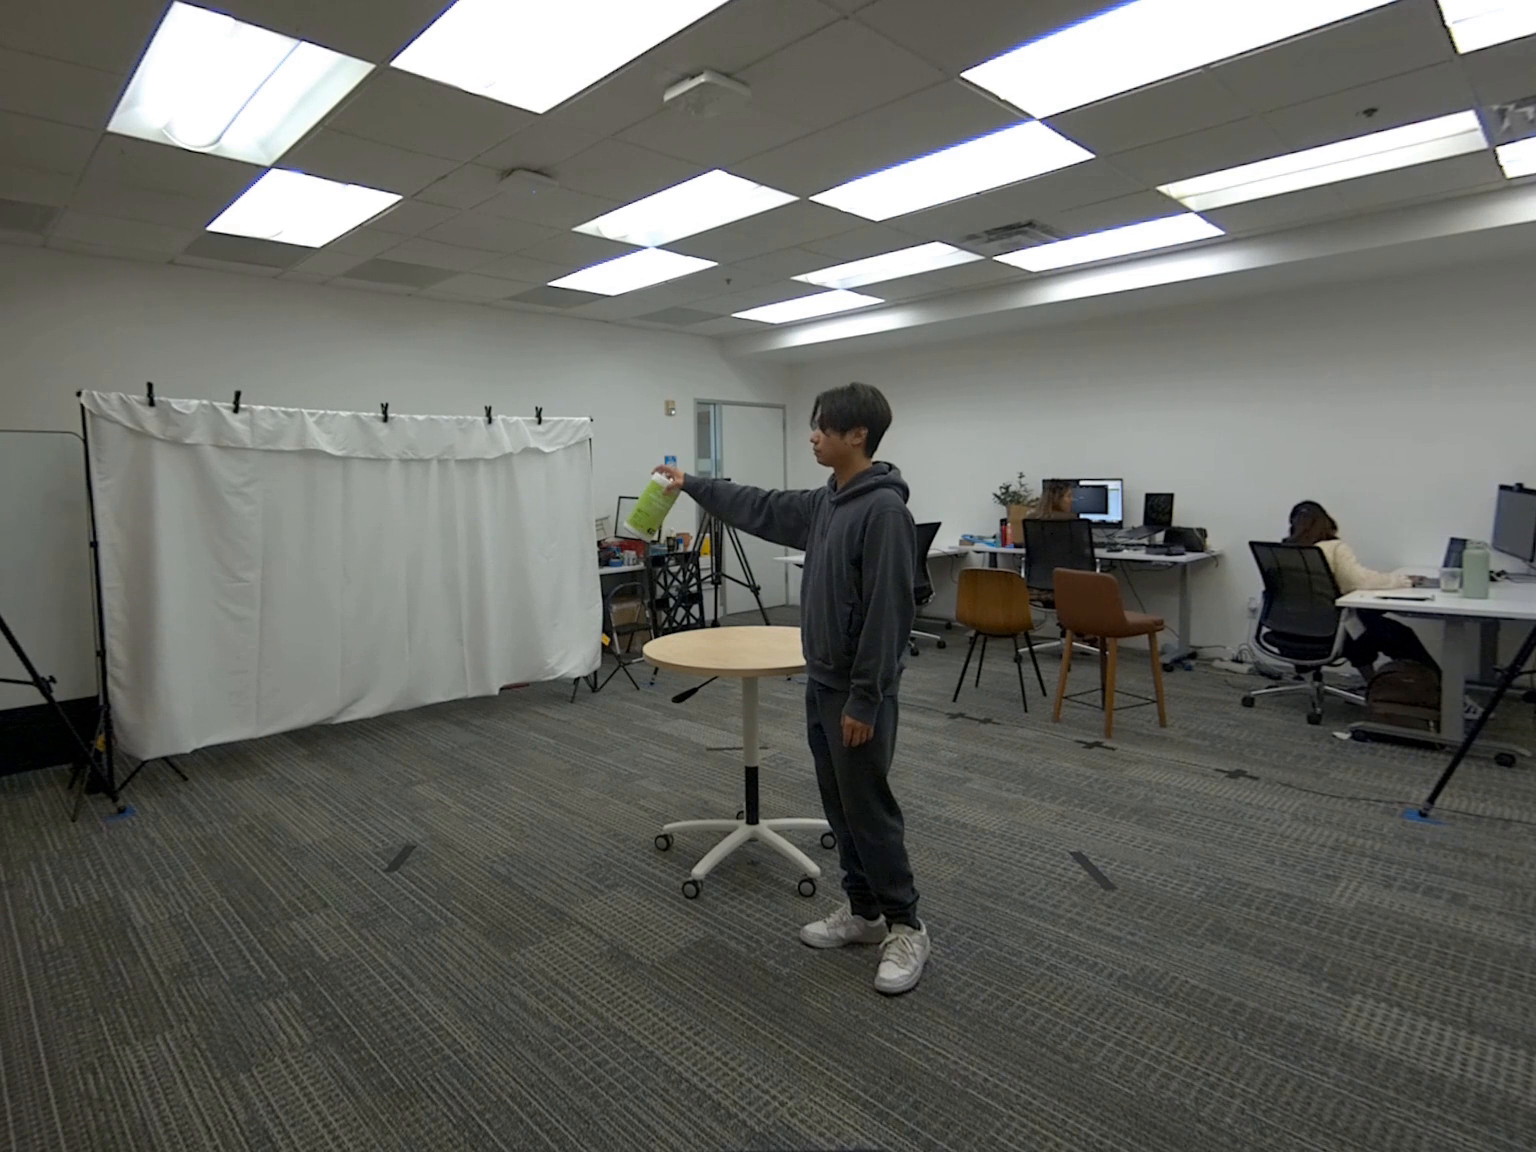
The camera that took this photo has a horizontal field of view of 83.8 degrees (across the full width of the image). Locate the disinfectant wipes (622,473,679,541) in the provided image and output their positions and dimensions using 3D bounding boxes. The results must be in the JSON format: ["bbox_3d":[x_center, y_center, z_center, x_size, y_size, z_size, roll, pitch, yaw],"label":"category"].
[{"bbox_3d":[-0.374,-0.226,2.837,0.117,0.217,0.119,33,7,-7],"label":"disinfectant wipes"}]
